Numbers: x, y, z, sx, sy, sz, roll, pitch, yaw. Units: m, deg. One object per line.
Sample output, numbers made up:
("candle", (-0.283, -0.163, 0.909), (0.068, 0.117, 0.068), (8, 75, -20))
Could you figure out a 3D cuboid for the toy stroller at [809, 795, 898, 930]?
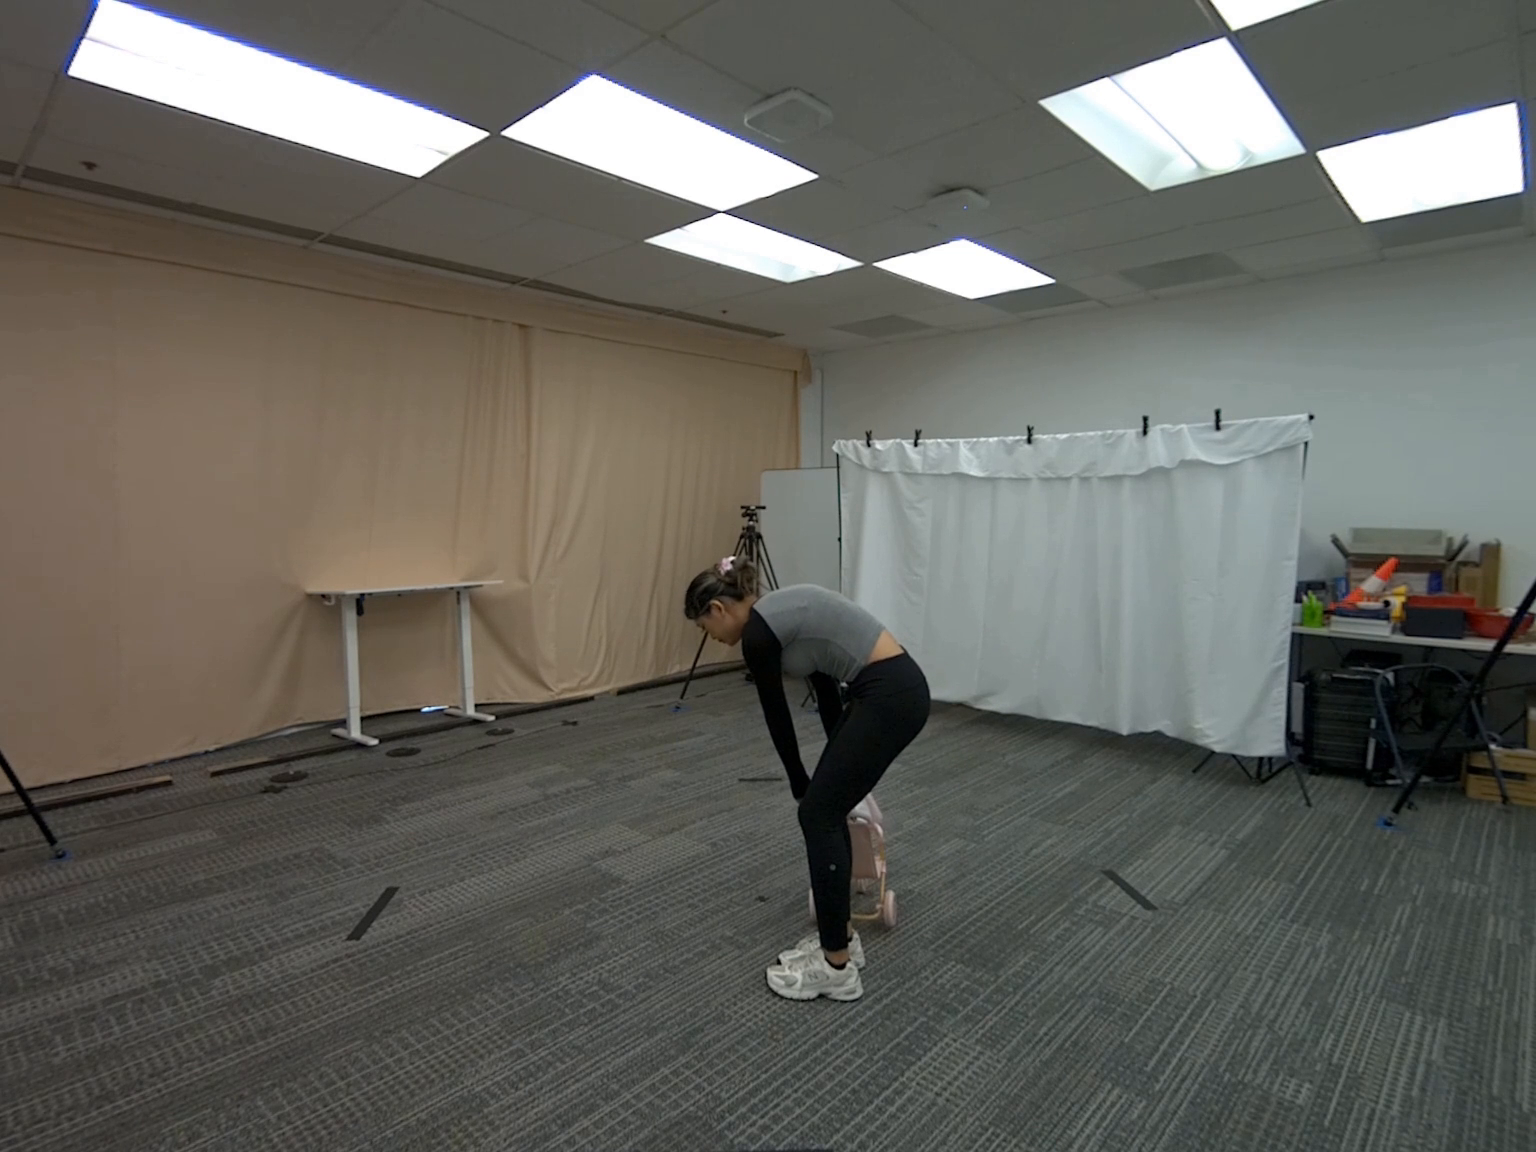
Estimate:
("toy stroller", (0.290, 0.924, 2.850), (0.287, 0.528, 0.339), (-2, 17, 19))
